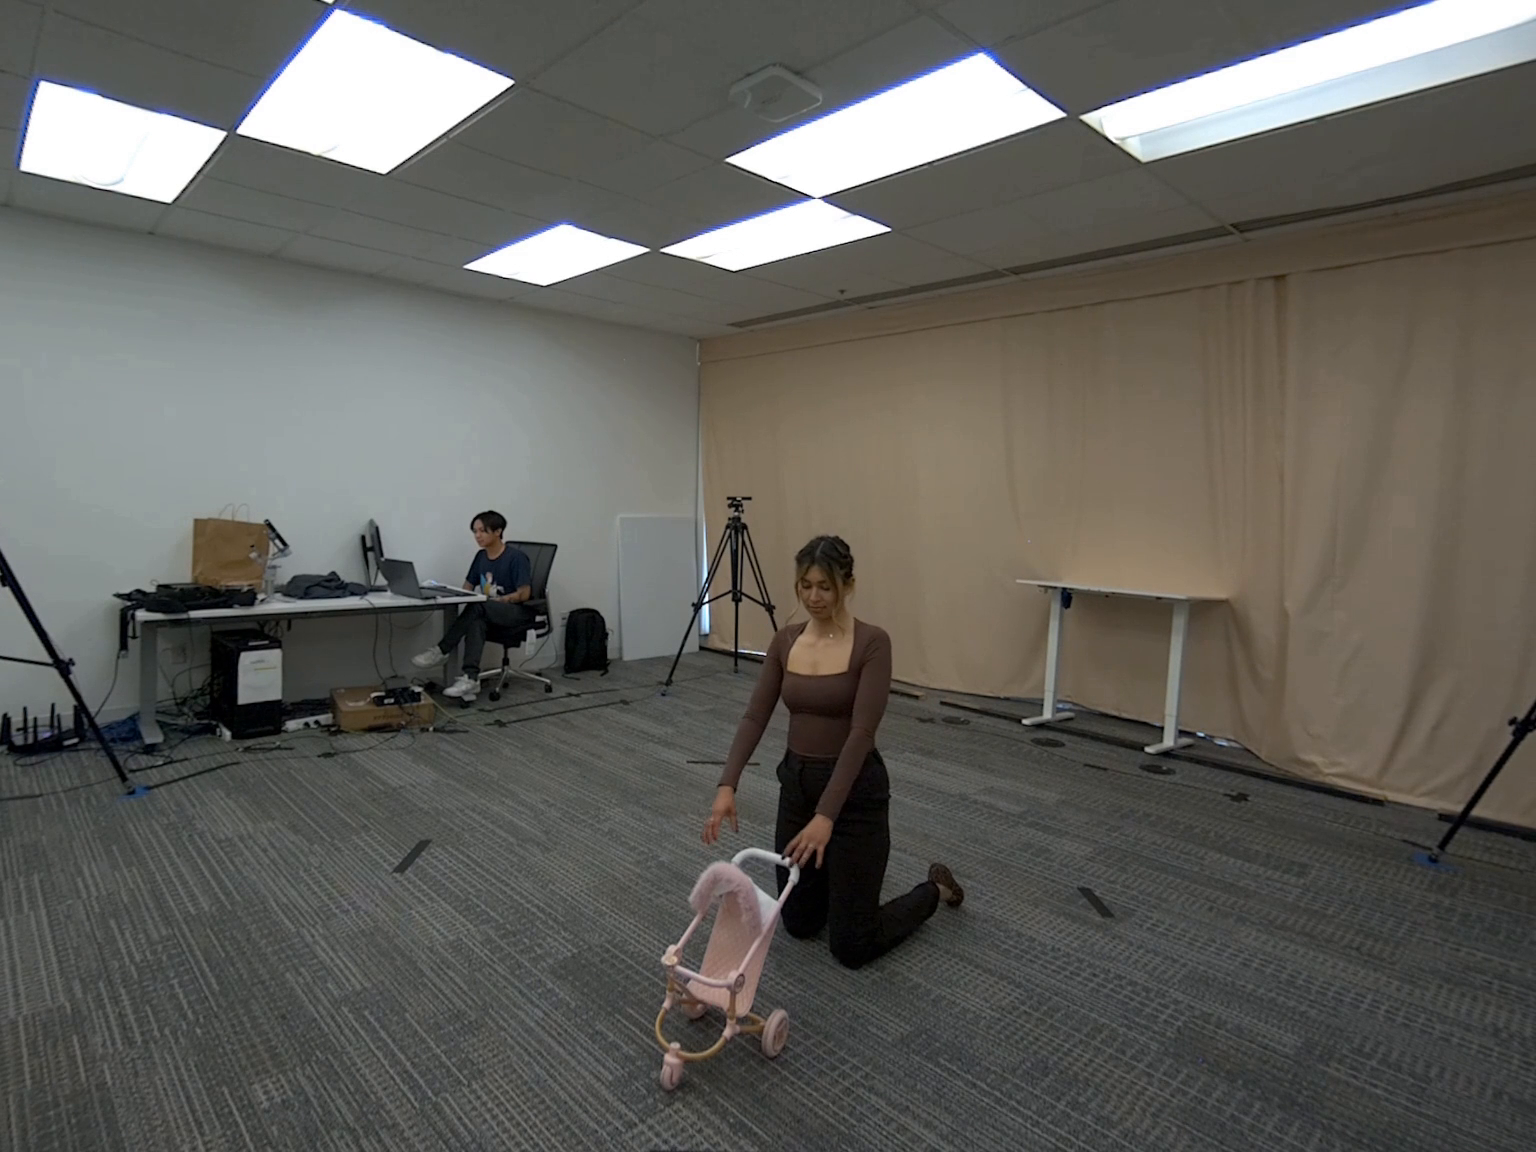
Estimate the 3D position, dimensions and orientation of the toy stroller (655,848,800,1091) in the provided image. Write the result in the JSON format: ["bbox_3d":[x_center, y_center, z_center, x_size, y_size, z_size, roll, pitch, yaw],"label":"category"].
[{"bbox_3d":[-0.120,0.976,2.122,0.288,0.538,0.331,4,-13,38],"label":"toy stroller"}]
